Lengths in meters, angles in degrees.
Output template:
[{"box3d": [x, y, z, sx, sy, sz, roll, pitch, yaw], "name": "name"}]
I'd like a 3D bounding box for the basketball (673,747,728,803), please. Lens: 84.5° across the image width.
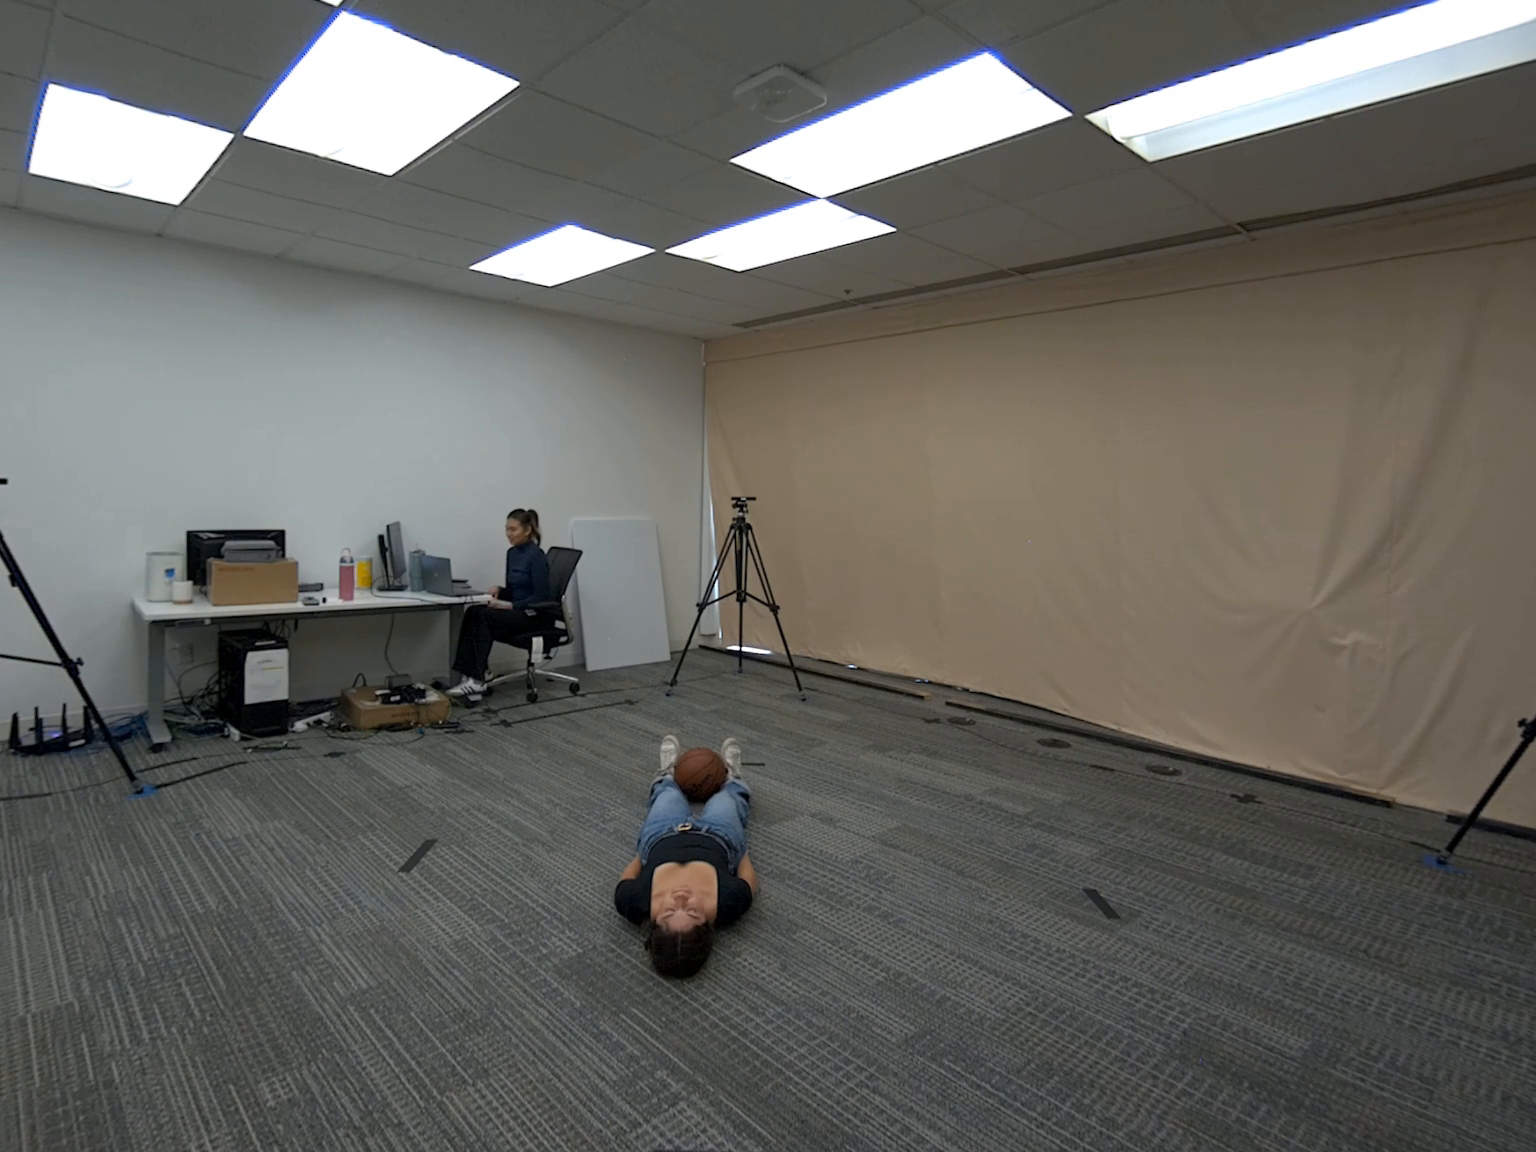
[{"box3d": [-0.326, 0.911, 3.893, 0.236, 0.235, 0.237, 1, 4, -1], "name": "basketball"}]
